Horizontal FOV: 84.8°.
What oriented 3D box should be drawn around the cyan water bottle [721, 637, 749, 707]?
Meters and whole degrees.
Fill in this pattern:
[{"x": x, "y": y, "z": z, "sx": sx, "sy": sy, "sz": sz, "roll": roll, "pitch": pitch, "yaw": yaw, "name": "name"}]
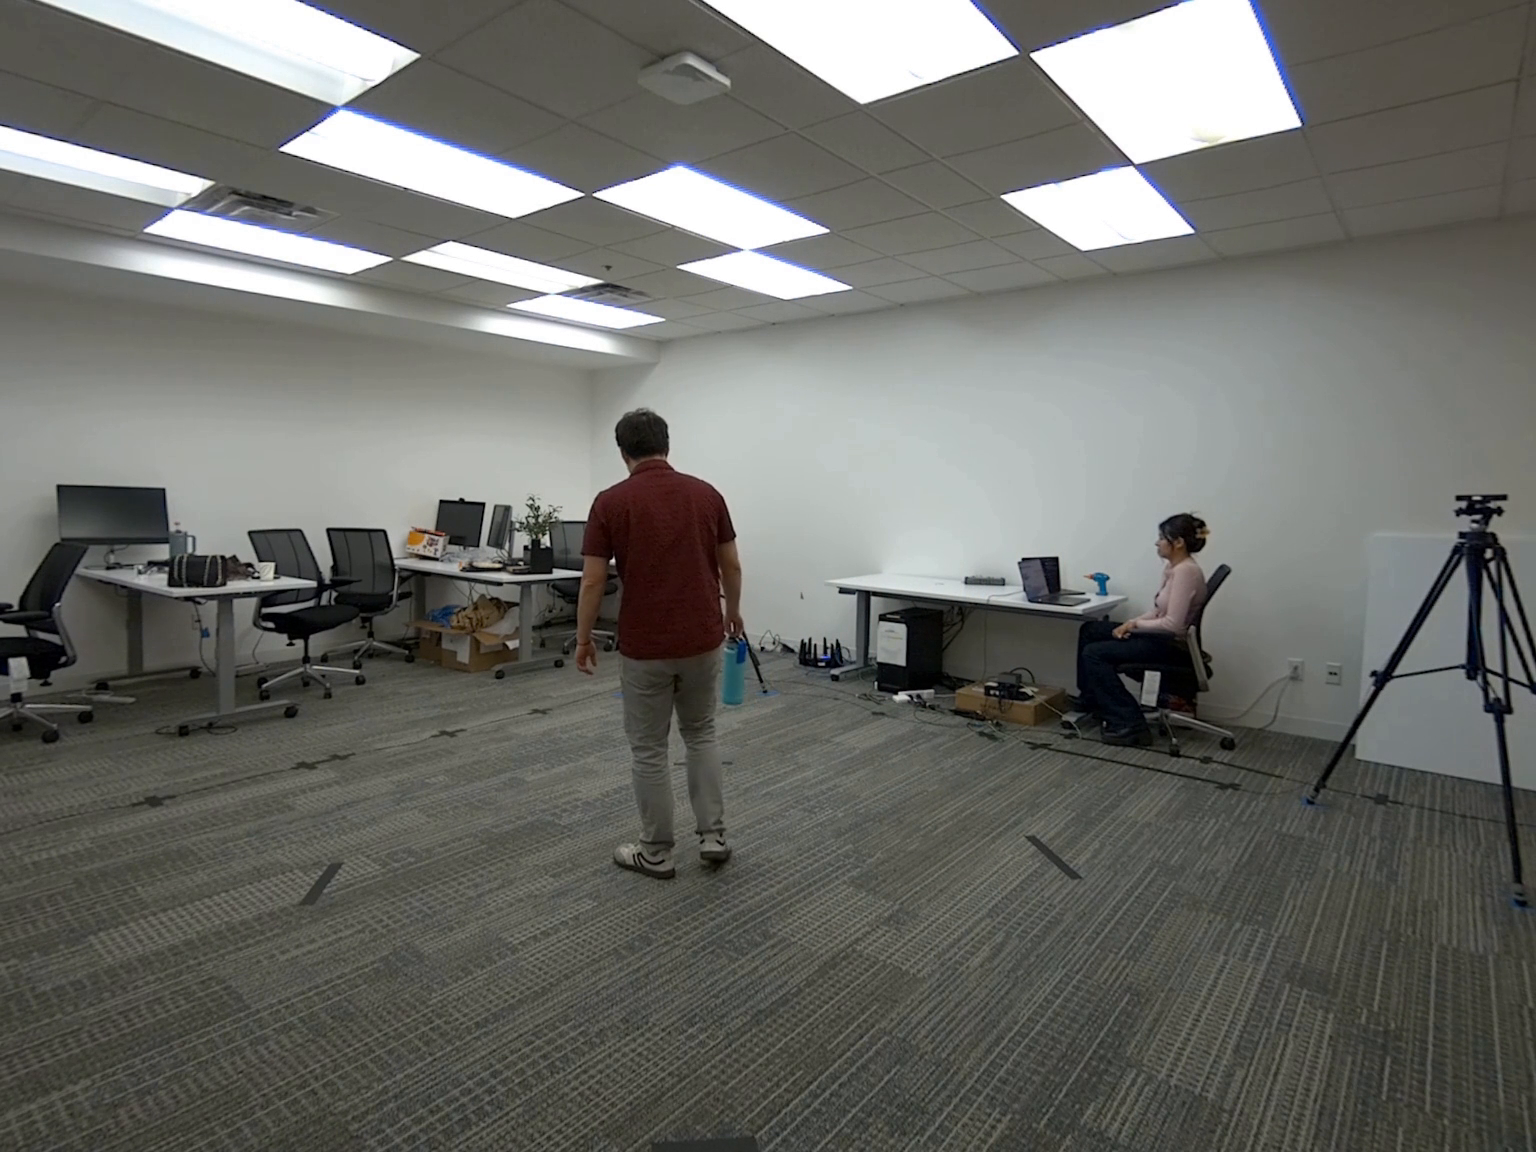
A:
[{"x": -0.147, "y": 0.371, "z": 3.384, "sx": 0.092, "sy": 0.280, "sz": 0.093, "roll": 4, "pitch": 12, "yaw": -3, "name": "cyan water bottle"}]
